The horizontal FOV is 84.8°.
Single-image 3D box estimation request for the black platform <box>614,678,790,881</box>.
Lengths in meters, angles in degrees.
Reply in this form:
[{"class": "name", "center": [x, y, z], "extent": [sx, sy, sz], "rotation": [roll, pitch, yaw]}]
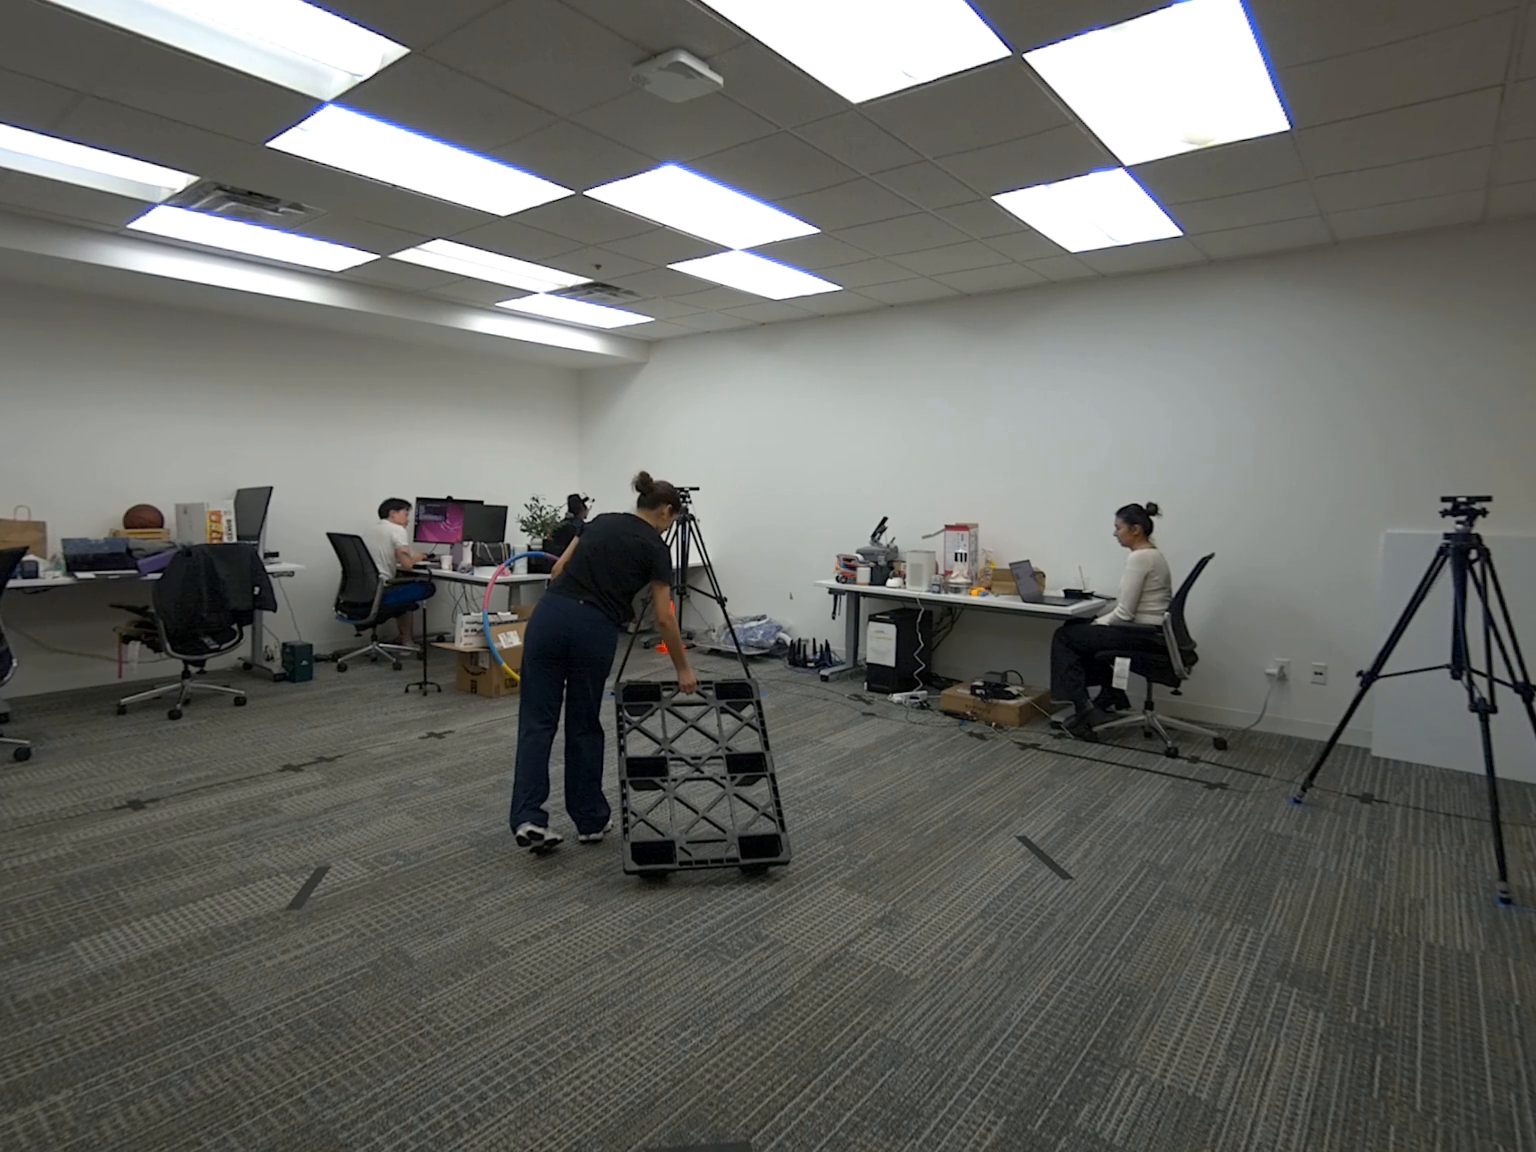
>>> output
[{"class": "black platform", "center": [-0.263, 0.757, 3.300], "extent": [0.598, 0.140, 0.833], "rotation": [0, 45, -11]}]
